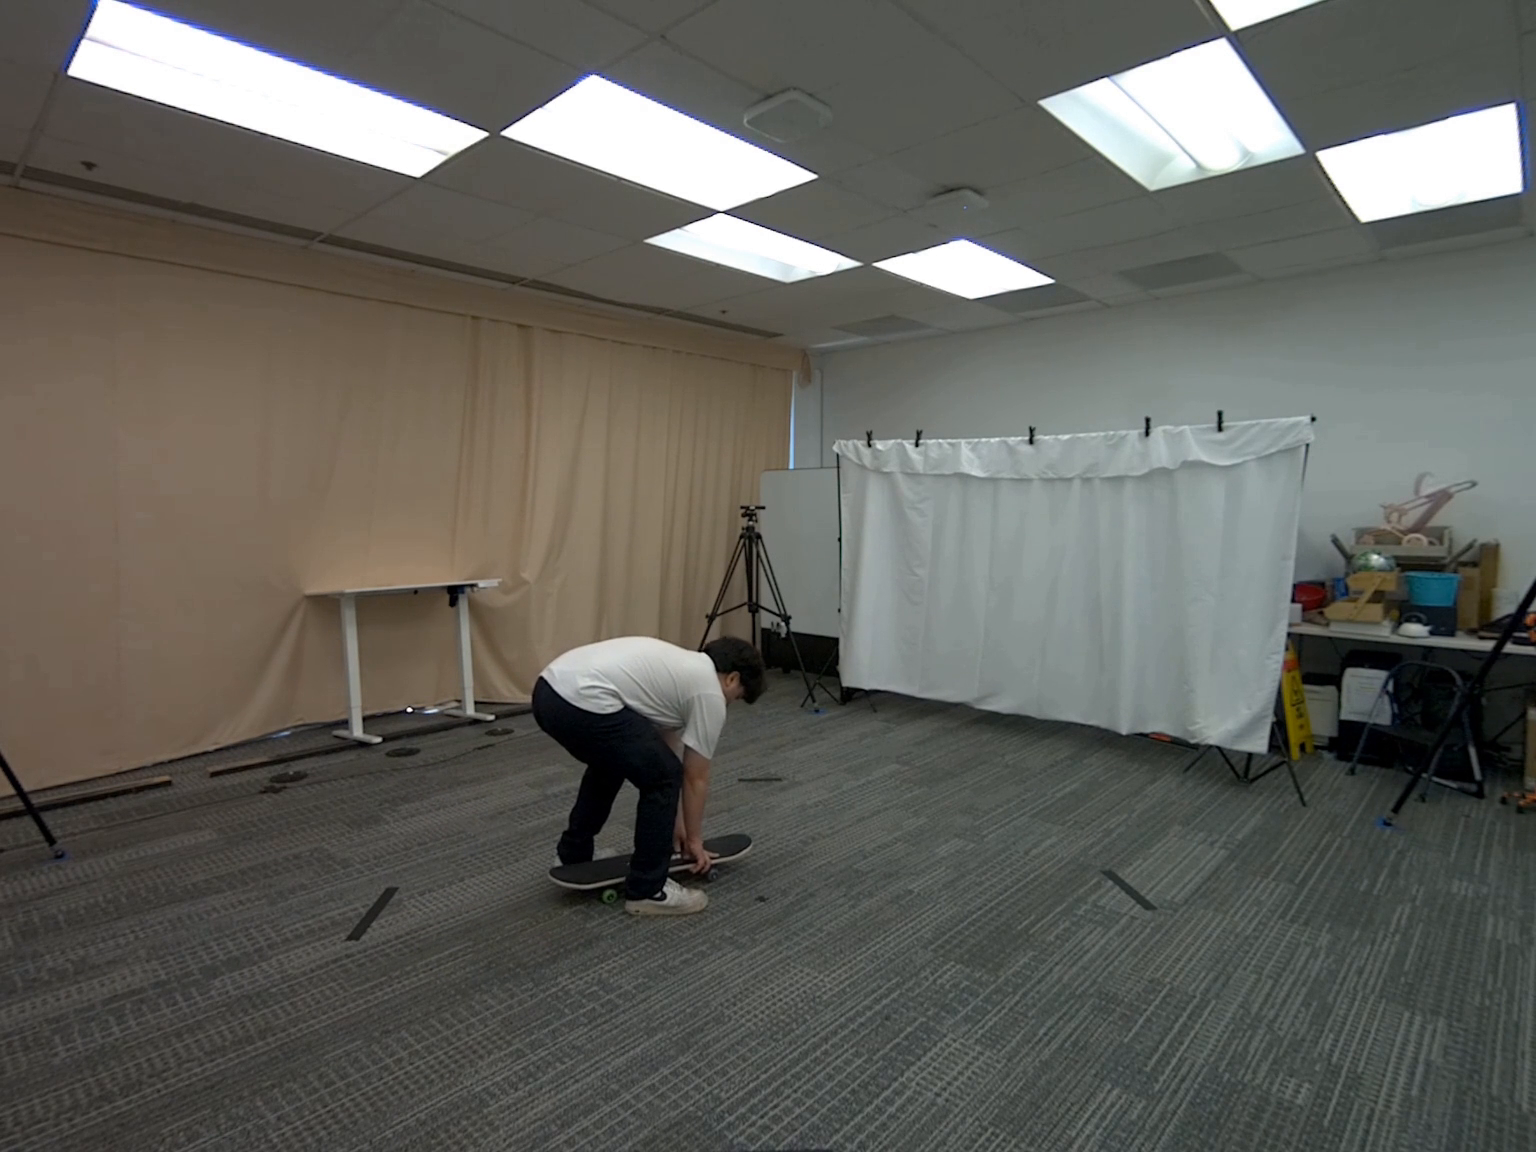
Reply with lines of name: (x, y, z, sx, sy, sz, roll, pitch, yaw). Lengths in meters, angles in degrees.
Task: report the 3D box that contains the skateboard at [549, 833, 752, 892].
skateboard: (-0.418, 1.087, 3.097, 0.767, 0.110, 0.198, -3, 5, -25)
